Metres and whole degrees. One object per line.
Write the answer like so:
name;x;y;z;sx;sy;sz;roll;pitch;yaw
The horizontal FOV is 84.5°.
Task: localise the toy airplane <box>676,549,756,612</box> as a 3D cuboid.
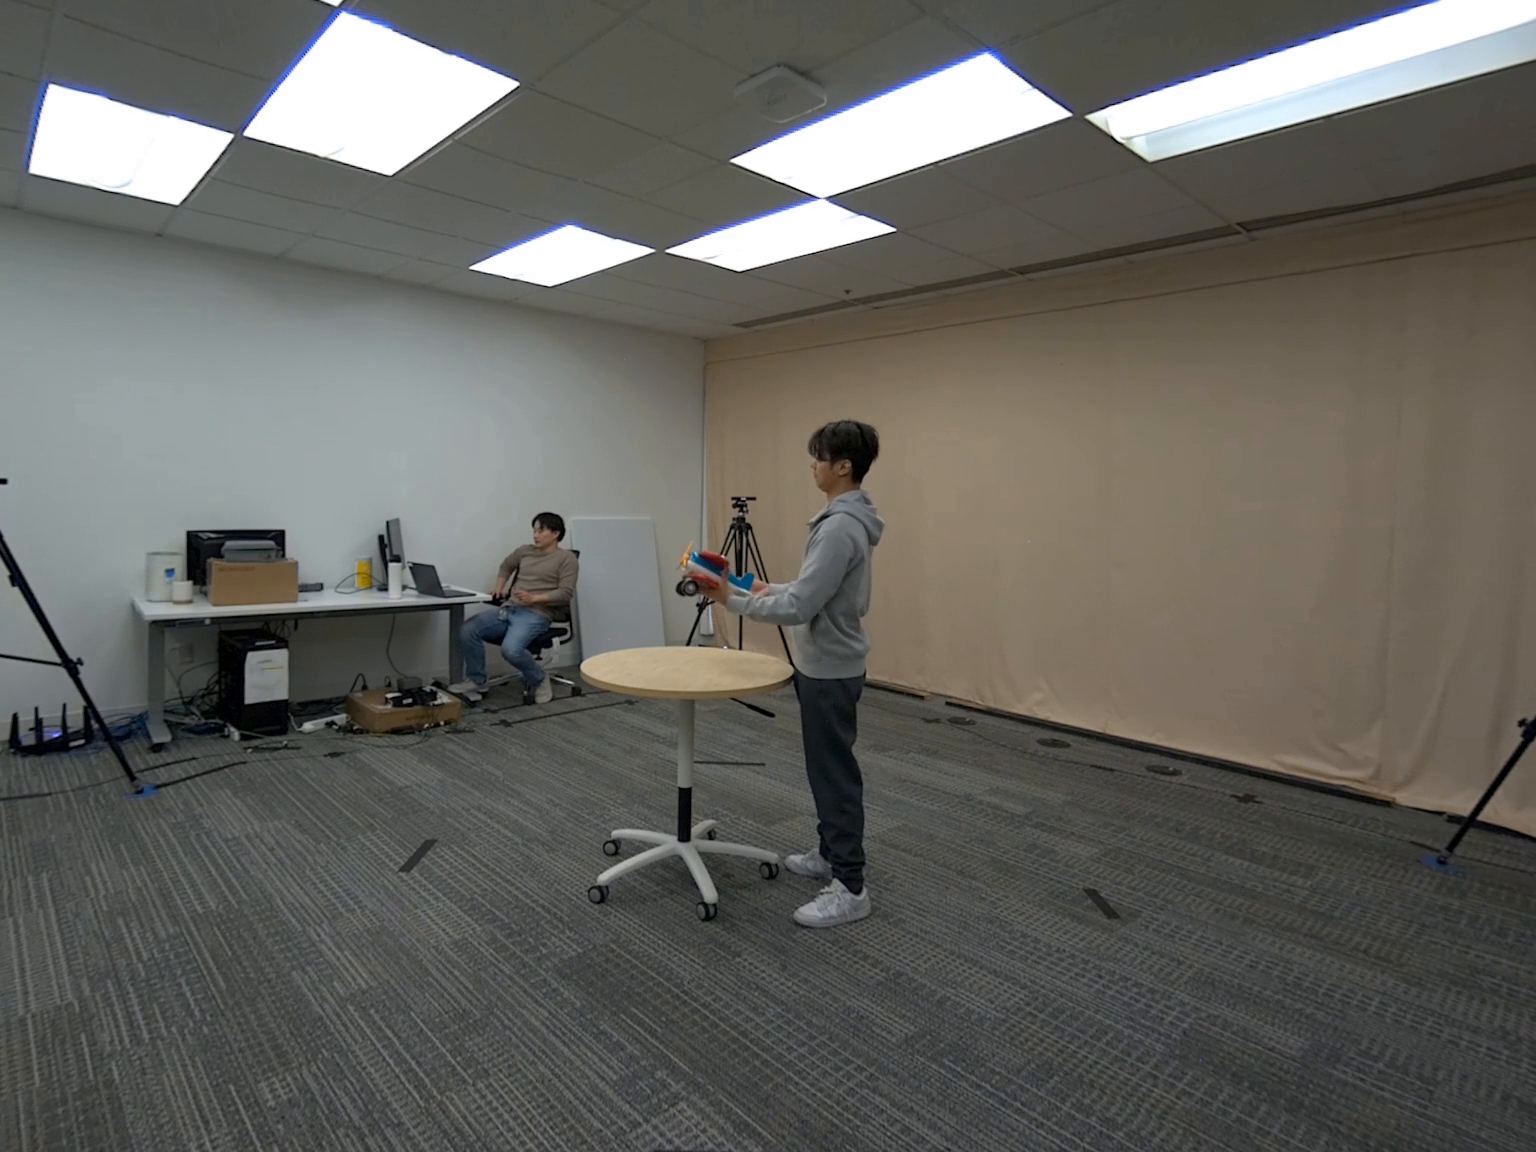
toy airplane;-0.175;0.007;2.811;0.258;0.157;0.252;7;-7;44
